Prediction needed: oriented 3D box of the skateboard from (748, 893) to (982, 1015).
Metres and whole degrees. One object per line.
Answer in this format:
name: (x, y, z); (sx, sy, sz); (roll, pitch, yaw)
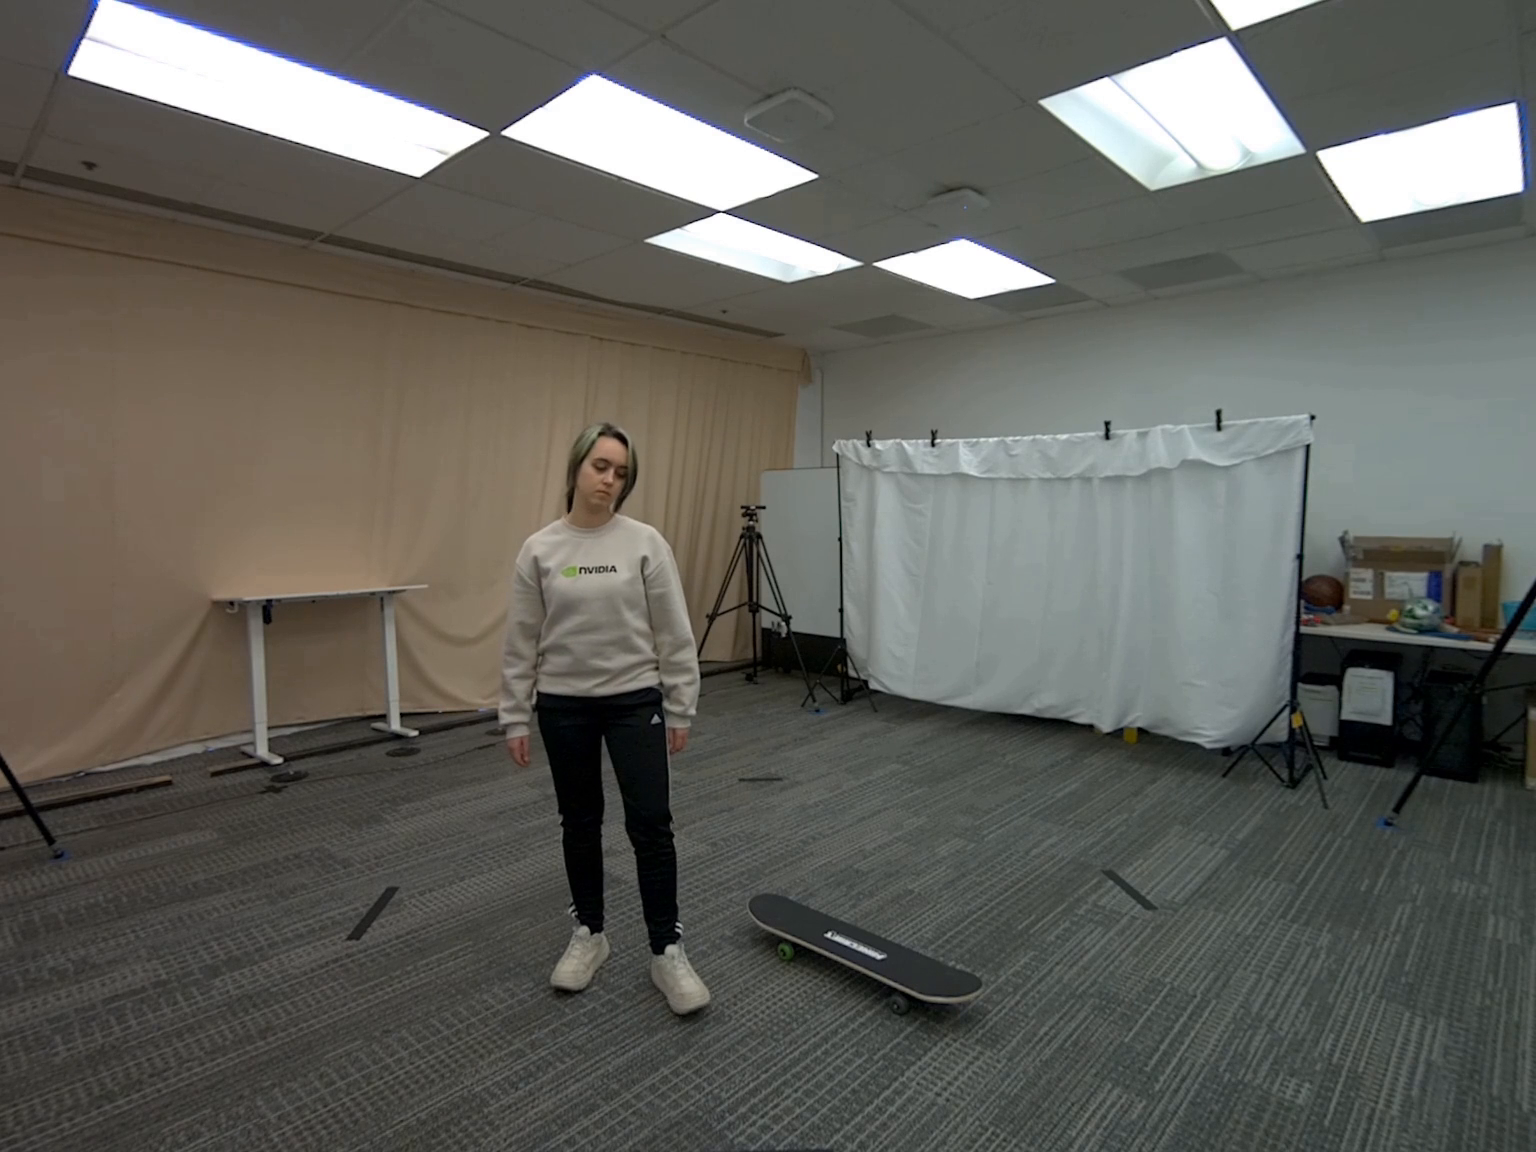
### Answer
skateboard: (0.258, 1.122, 2.504); (0.812, 0.110, 0.187); (4, 5, 41)
